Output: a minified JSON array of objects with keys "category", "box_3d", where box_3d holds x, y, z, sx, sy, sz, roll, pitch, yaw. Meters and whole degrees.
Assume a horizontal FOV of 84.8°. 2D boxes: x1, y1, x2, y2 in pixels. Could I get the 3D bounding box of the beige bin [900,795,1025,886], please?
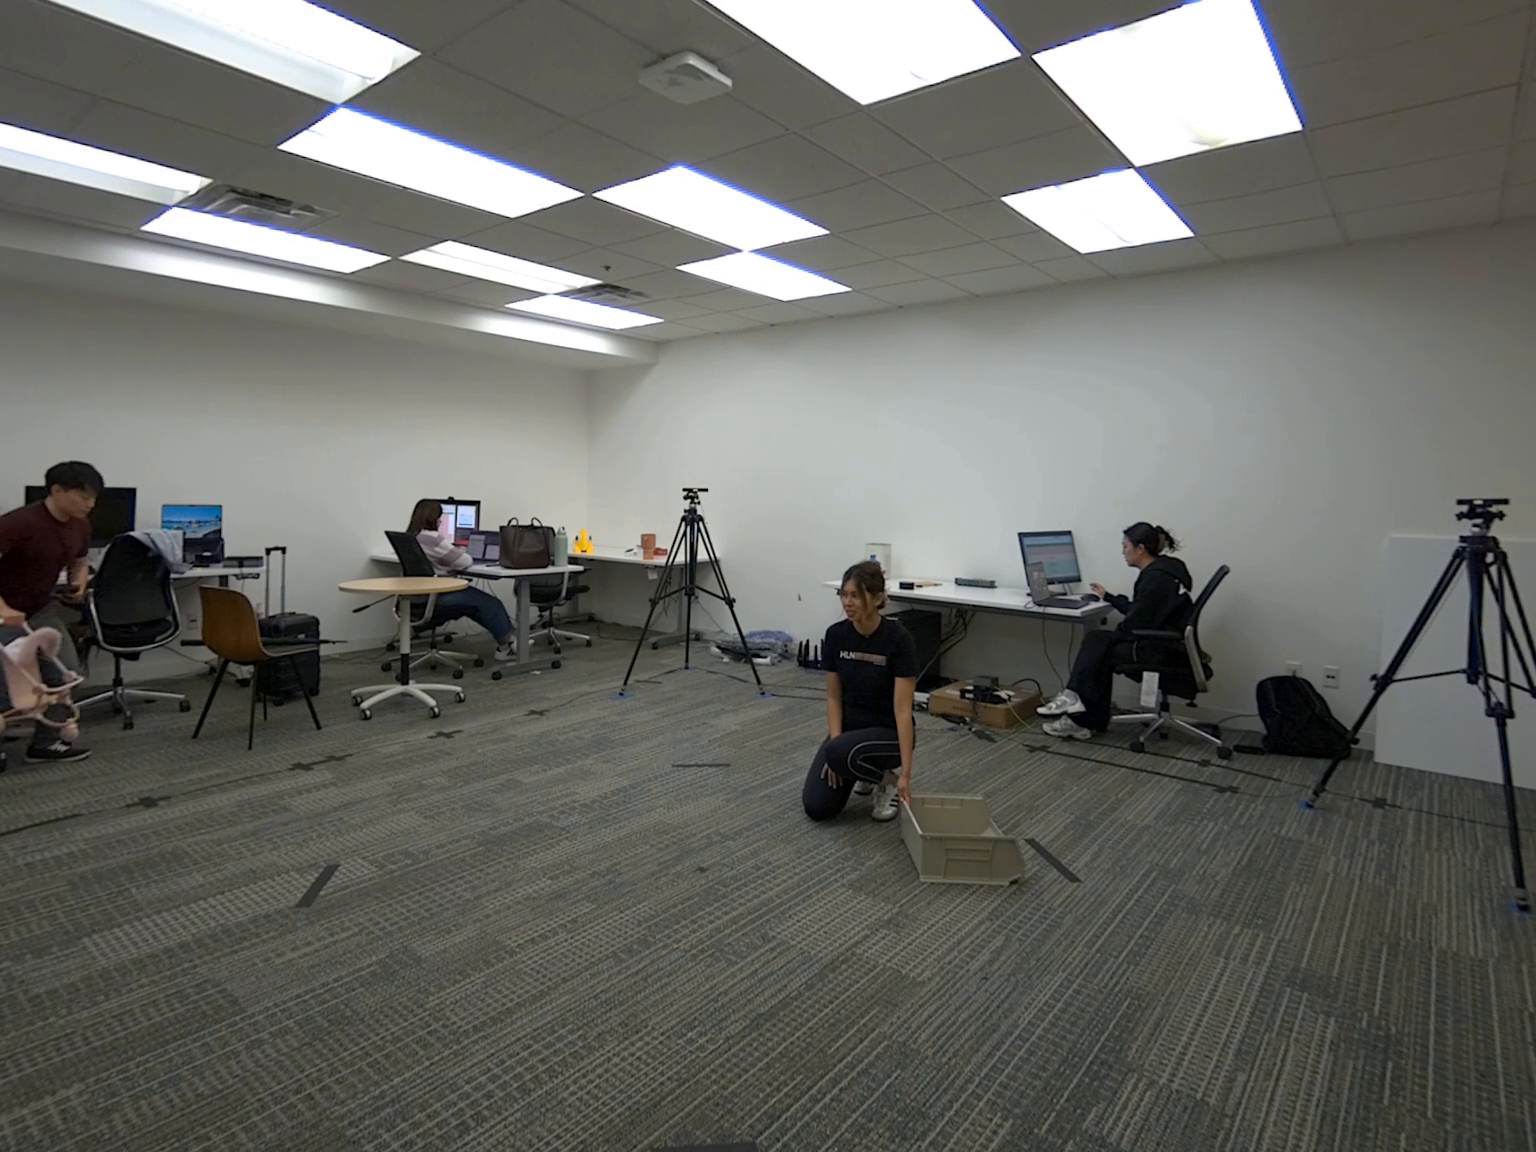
[{"category":"beige bin","box_3d":[0.729,0.993,3.246,0.377,0.188,0.424,0,6,-1]}]
